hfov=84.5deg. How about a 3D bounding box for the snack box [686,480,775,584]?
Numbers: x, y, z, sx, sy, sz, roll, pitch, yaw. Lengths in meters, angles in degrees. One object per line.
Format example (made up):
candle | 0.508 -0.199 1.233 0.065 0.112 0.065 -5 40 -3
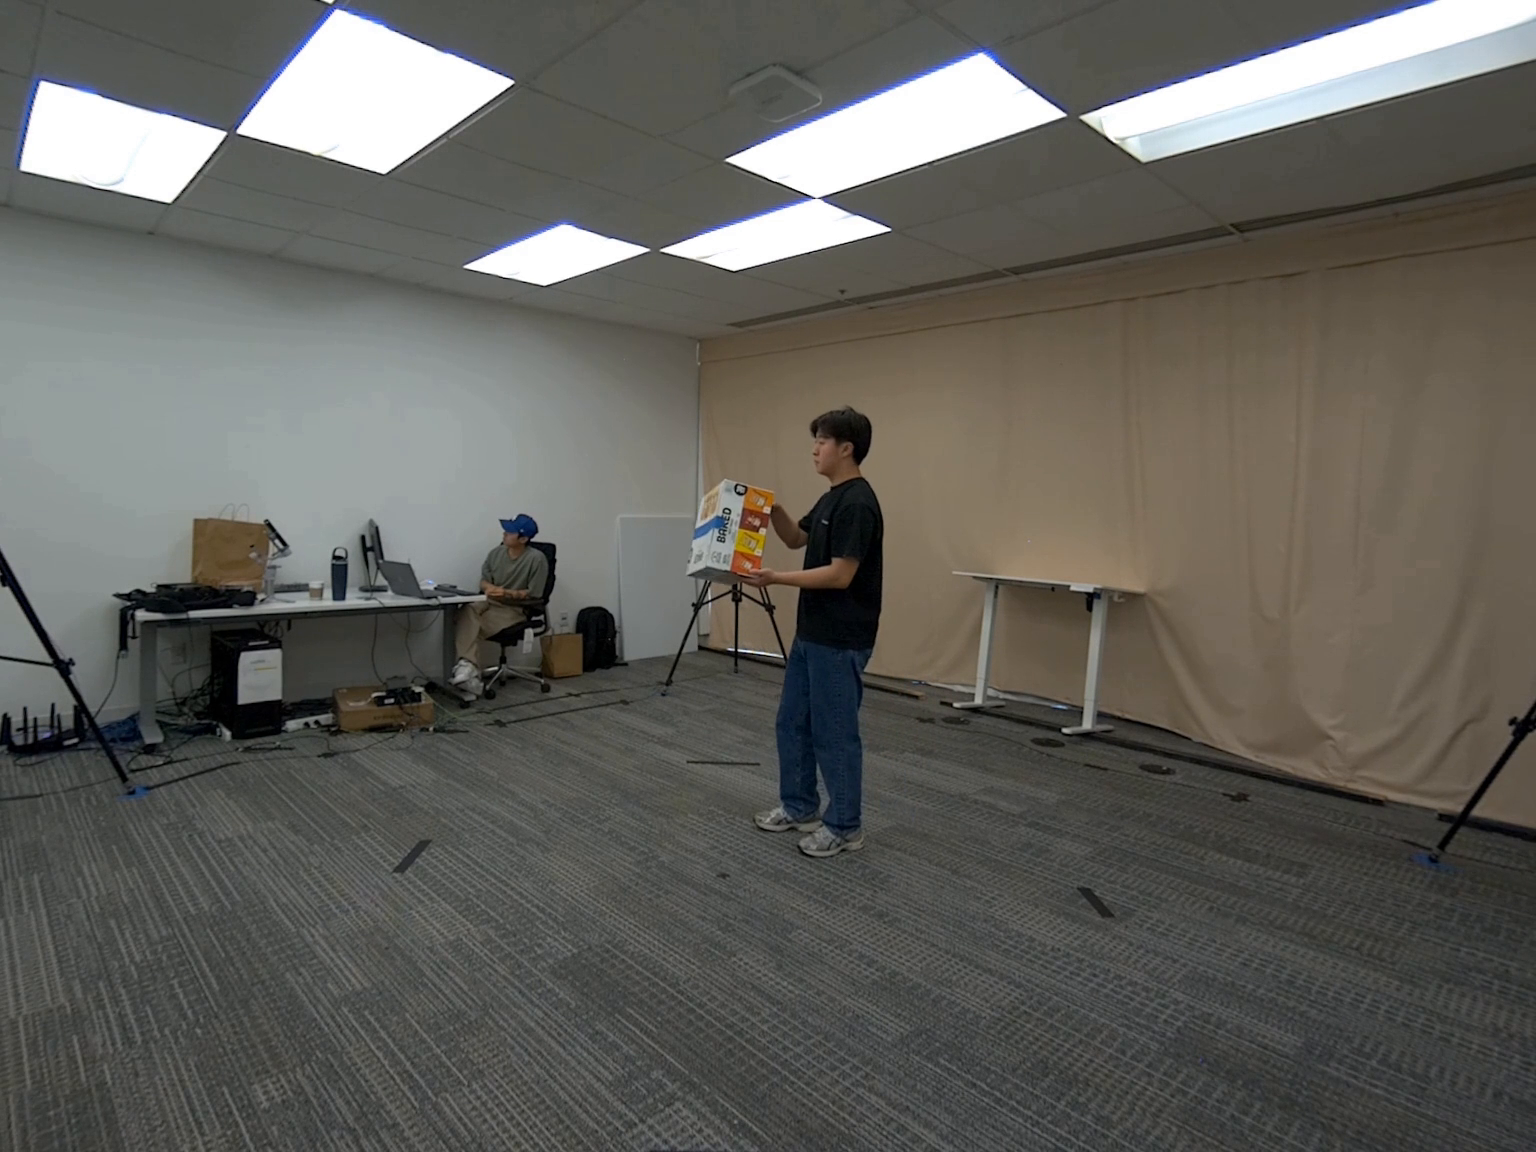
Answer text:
snack box | -0.160 -0.158 3.371 0.203 0.342 0.408 14 -9 -14
